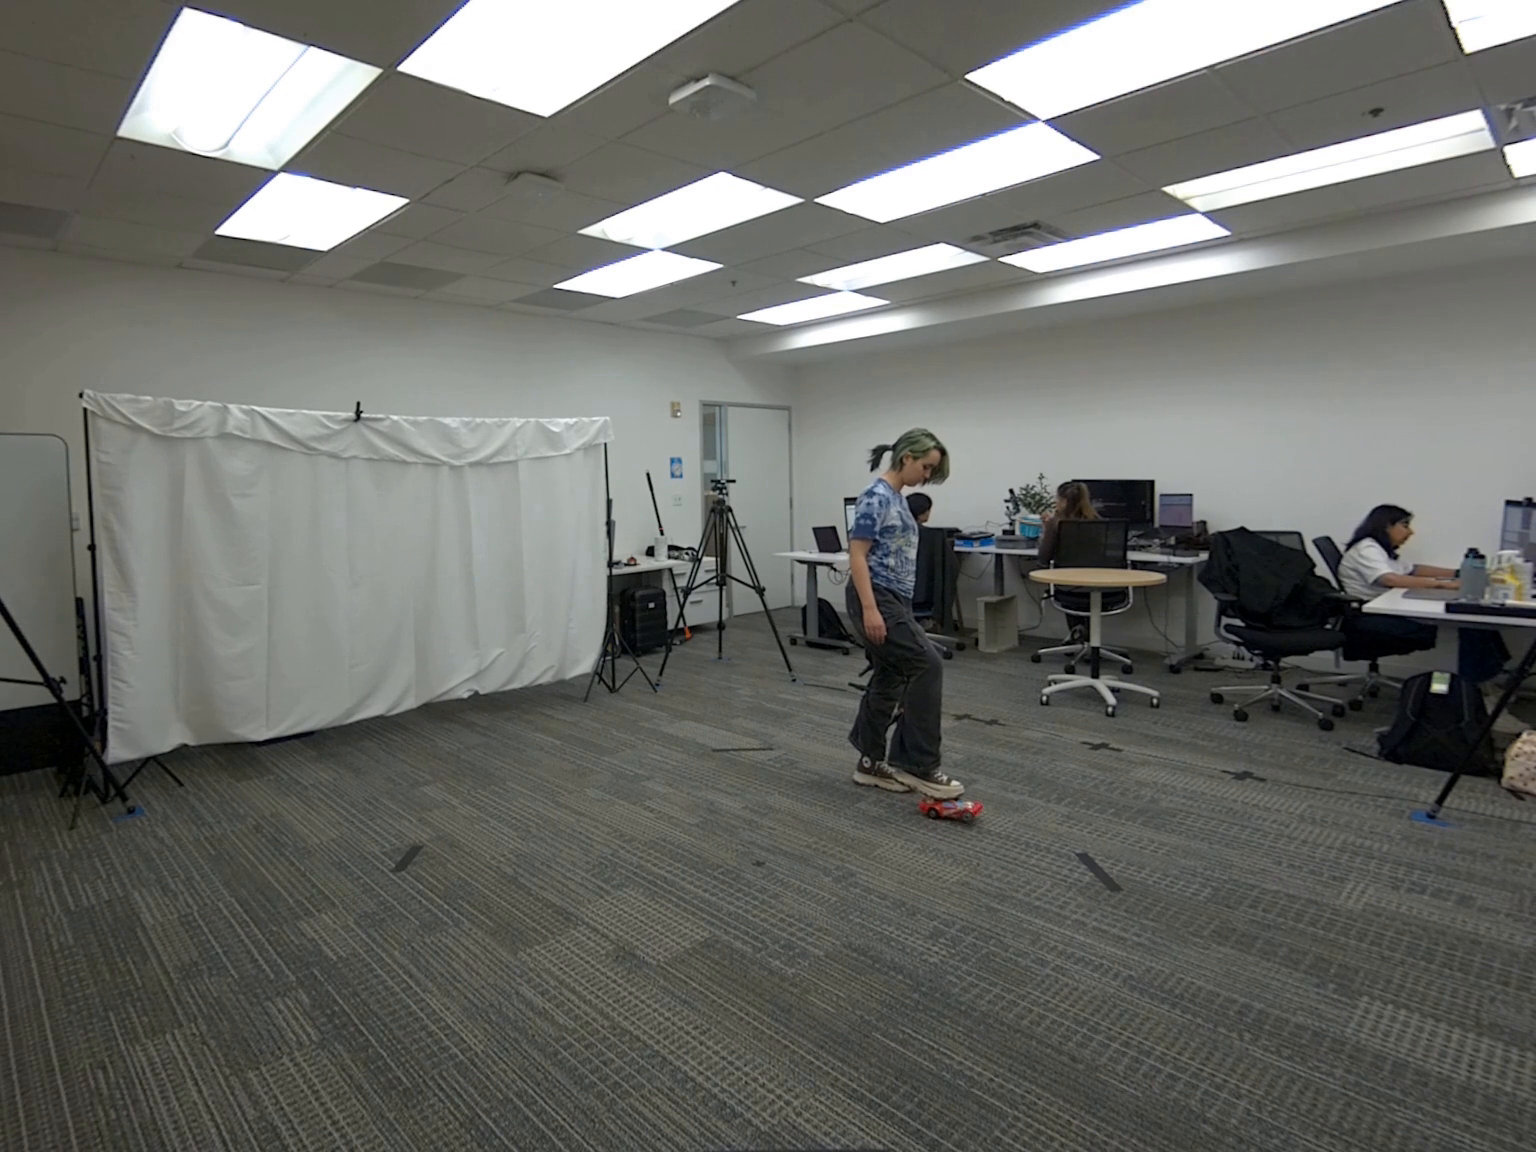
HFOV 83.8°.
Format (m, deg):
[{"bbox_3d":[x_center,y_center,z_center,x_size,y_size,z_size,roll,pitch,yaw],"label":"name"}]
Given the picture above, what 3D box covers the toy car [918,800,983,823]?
[{"bbox_3d":[0.742,0.958,3.505,0.262,0.083,0.127,6,7,34],"label":"toy car"}]
